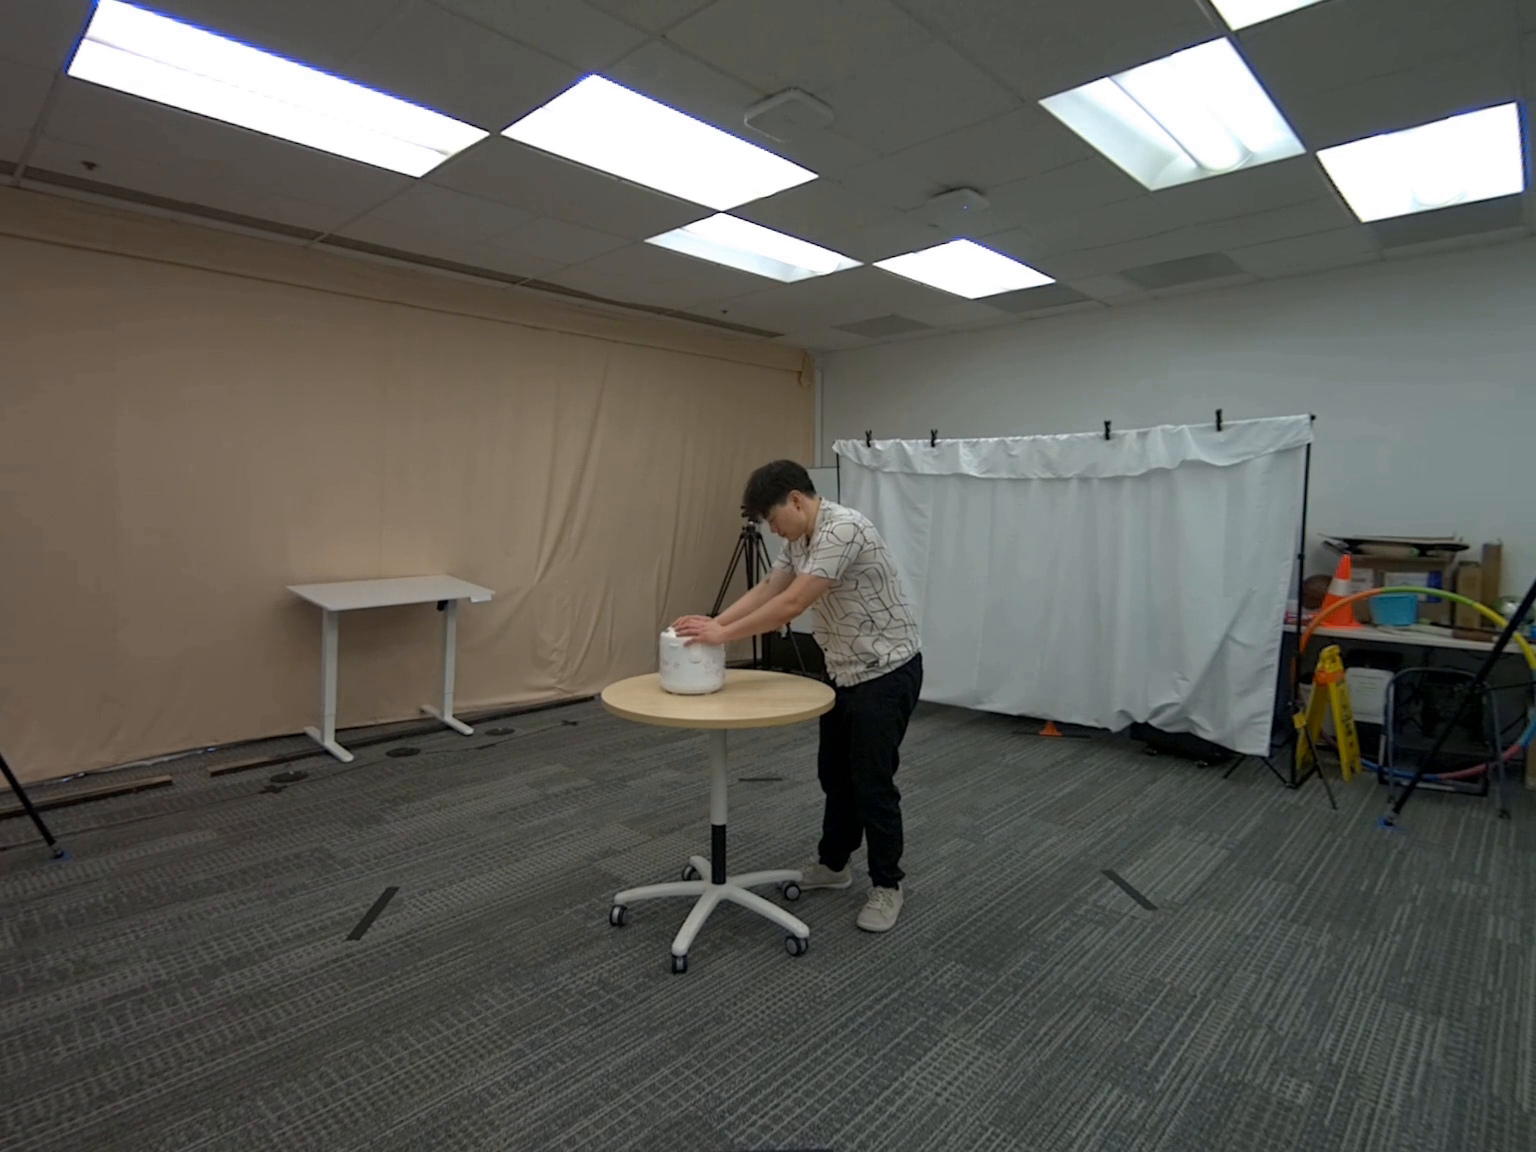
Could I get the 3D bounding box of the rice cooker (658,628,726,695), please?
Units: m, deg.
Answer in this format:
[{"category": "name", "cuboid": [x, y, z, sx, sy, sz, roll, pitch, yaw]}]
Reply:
[{"category": "rice cooker", "cuboid": [-0.248, 0.267, 2.791, 0.216, 0.232, 0.223, -2, 5, -8]}]
